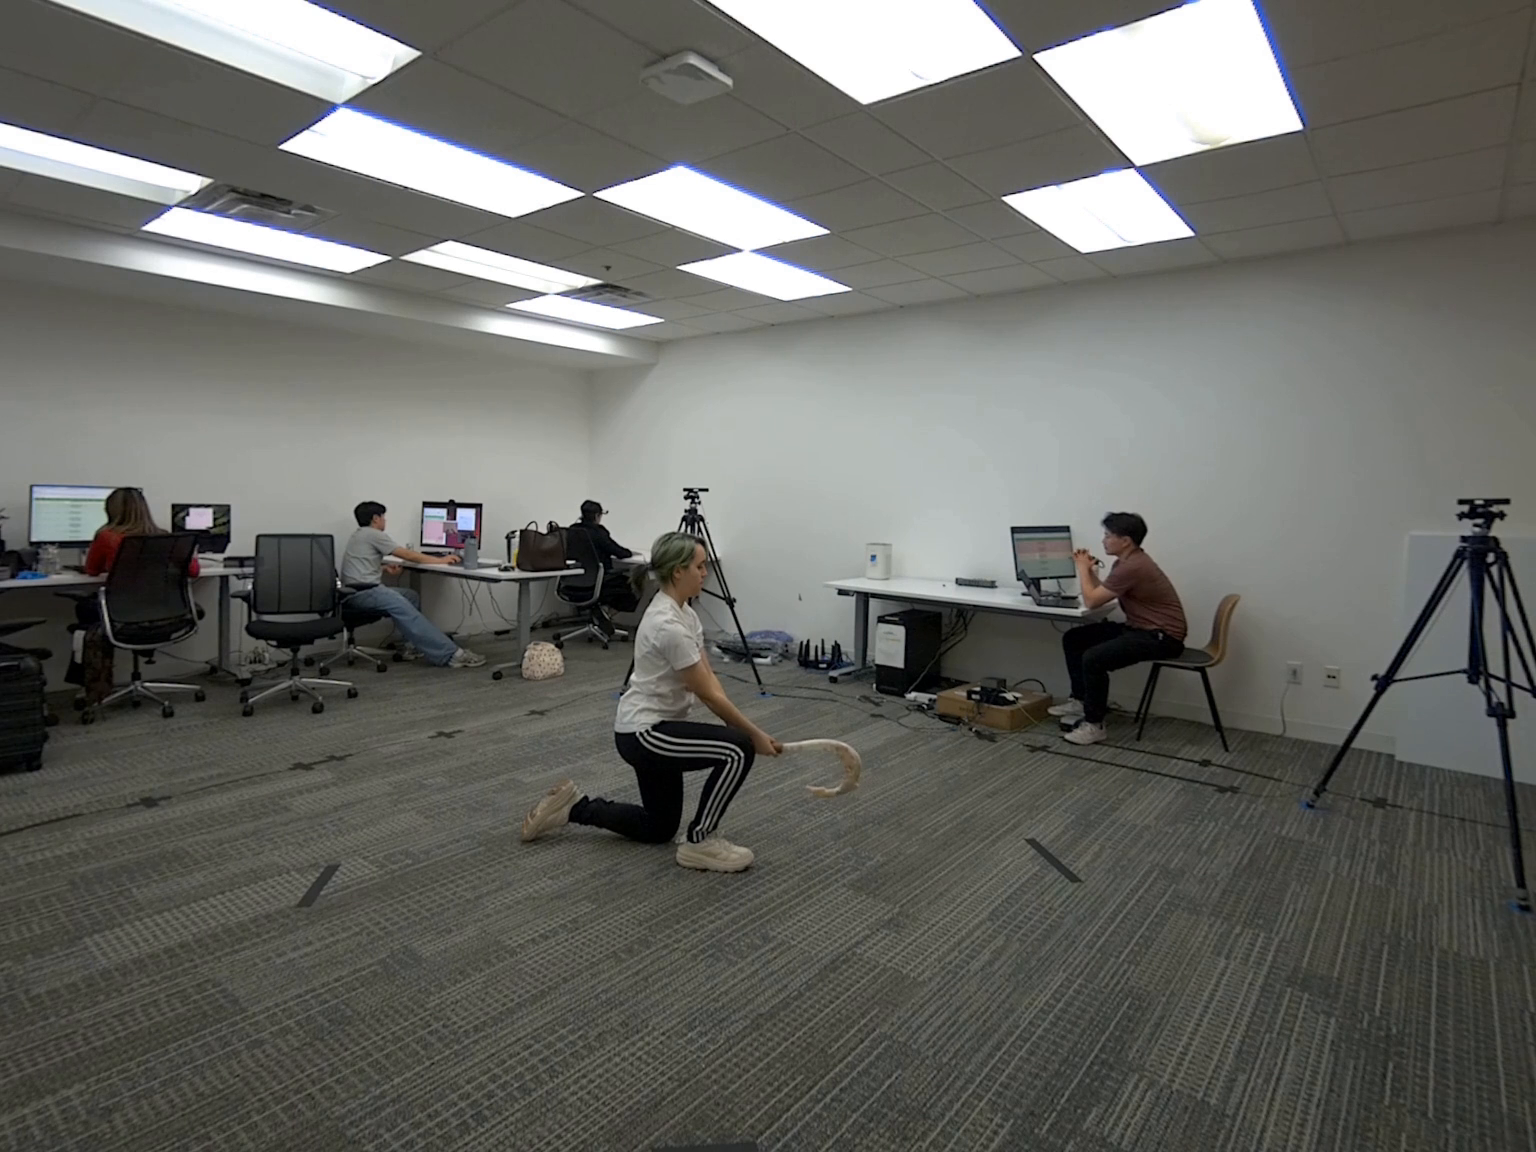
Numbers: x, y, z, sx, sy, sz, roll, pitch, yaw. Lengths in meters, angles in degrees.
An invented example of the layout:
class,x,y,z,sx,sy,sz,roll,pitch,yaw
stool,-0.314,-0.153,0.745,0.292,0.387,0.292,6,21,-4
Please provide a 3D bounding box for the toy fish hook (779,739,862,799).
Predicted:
class,x,y,z,sx,sy,sz,roll,pitch,yaw
toy fish hook,0.099,0.711,3.260,0.512,0.225,0.047,7,-4,10
